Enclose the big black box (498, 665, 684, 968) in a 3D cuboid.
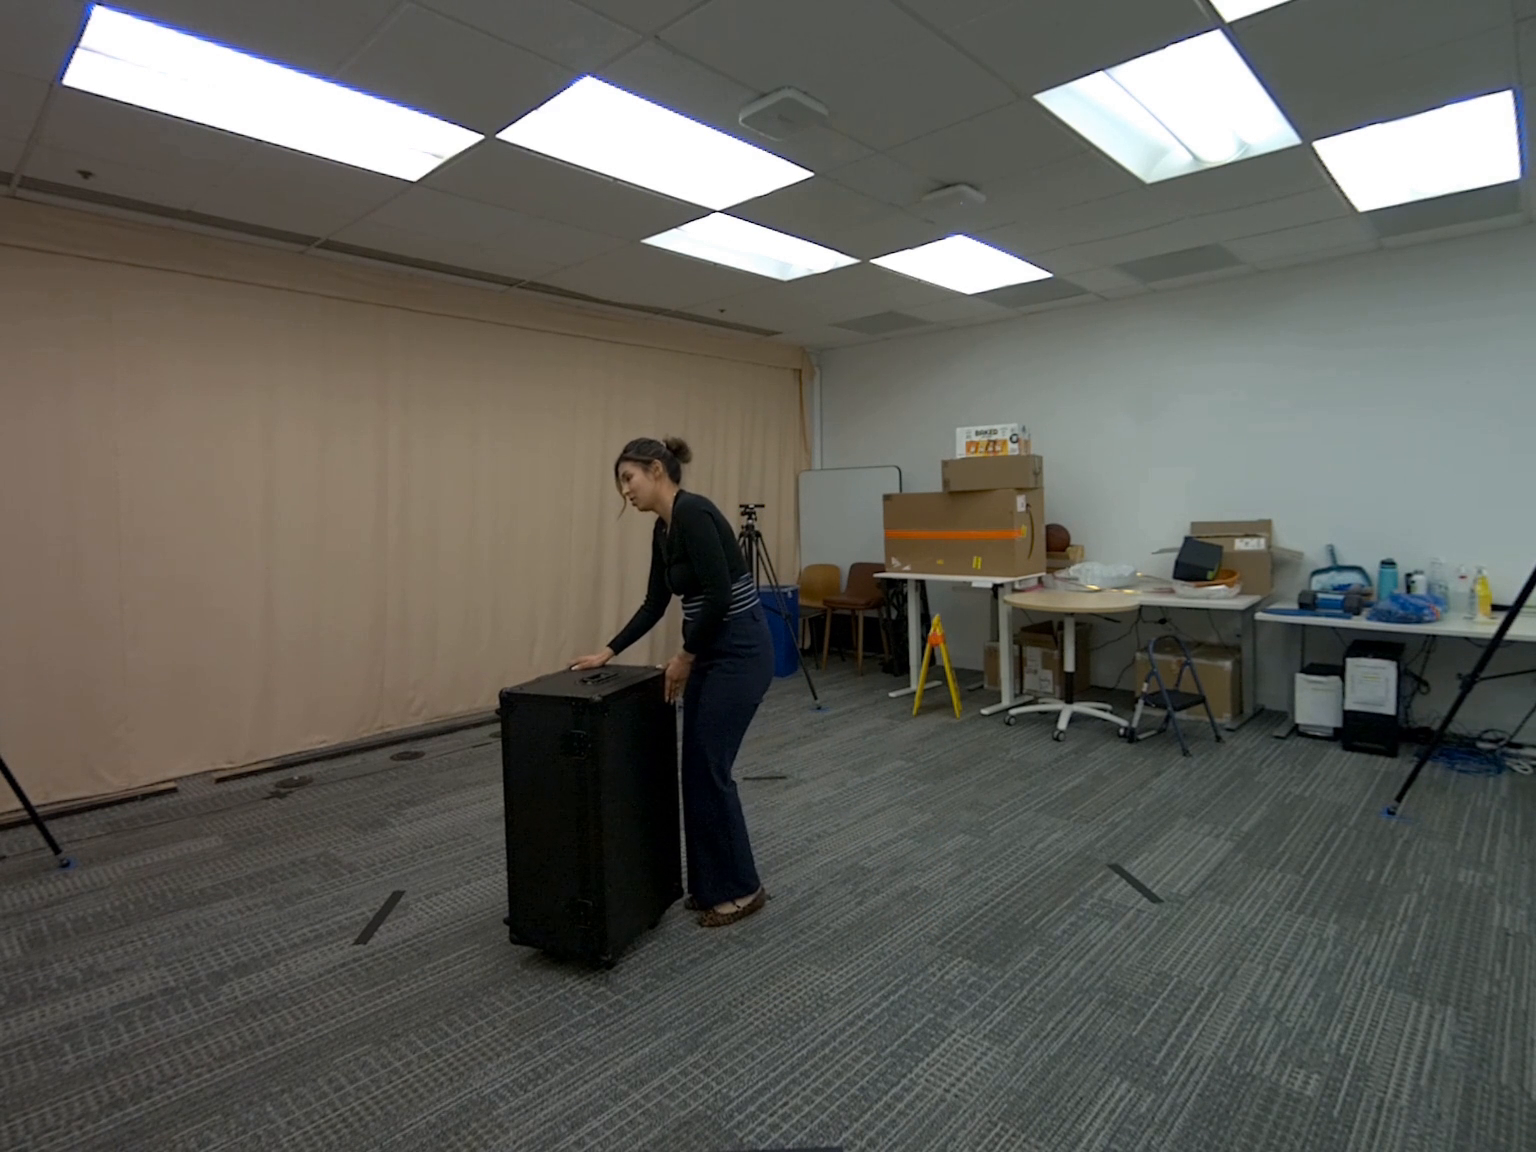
[{"bbox_3d":[-0.570,0.754,2.691,0.405,0.860,0.510,-2,3,22],"label":"big black box"}]
